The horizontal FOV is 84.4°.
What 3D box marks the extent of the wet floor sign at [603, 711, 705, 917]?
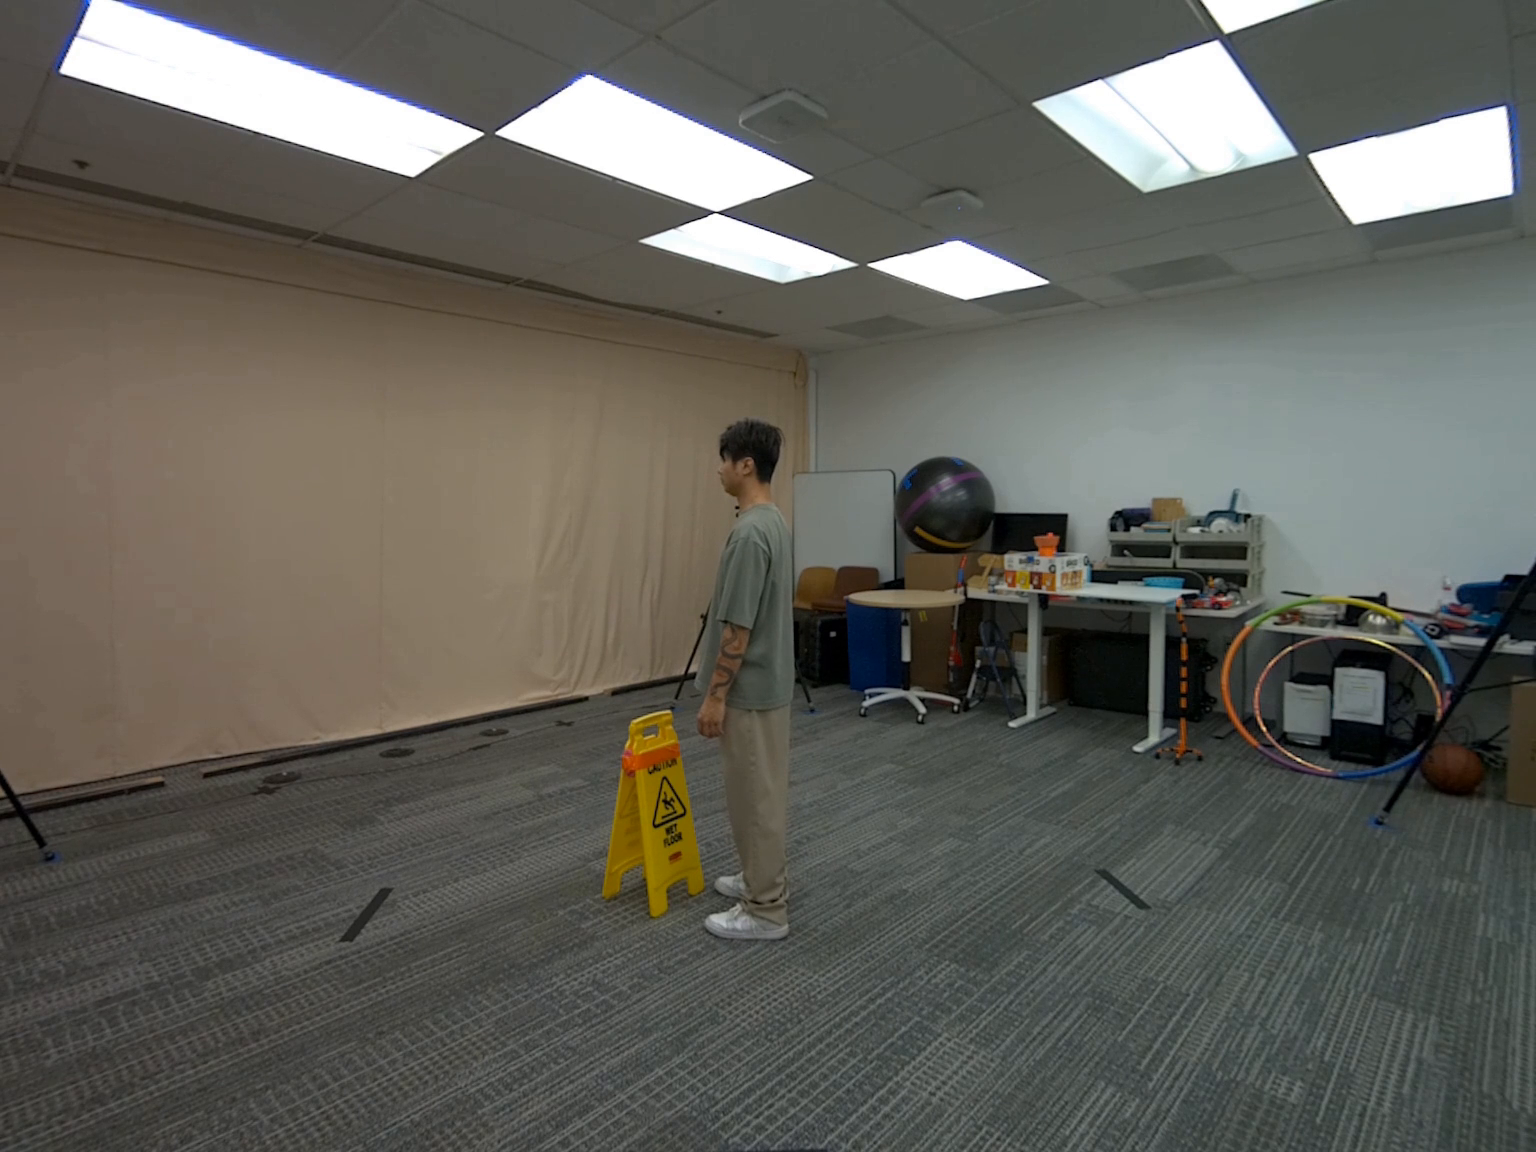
[{"bbox_3d":[-0.409,0.823,3.008,0.299,0.644,0.274,2,5,38],"label":"wet floor sign"}]
